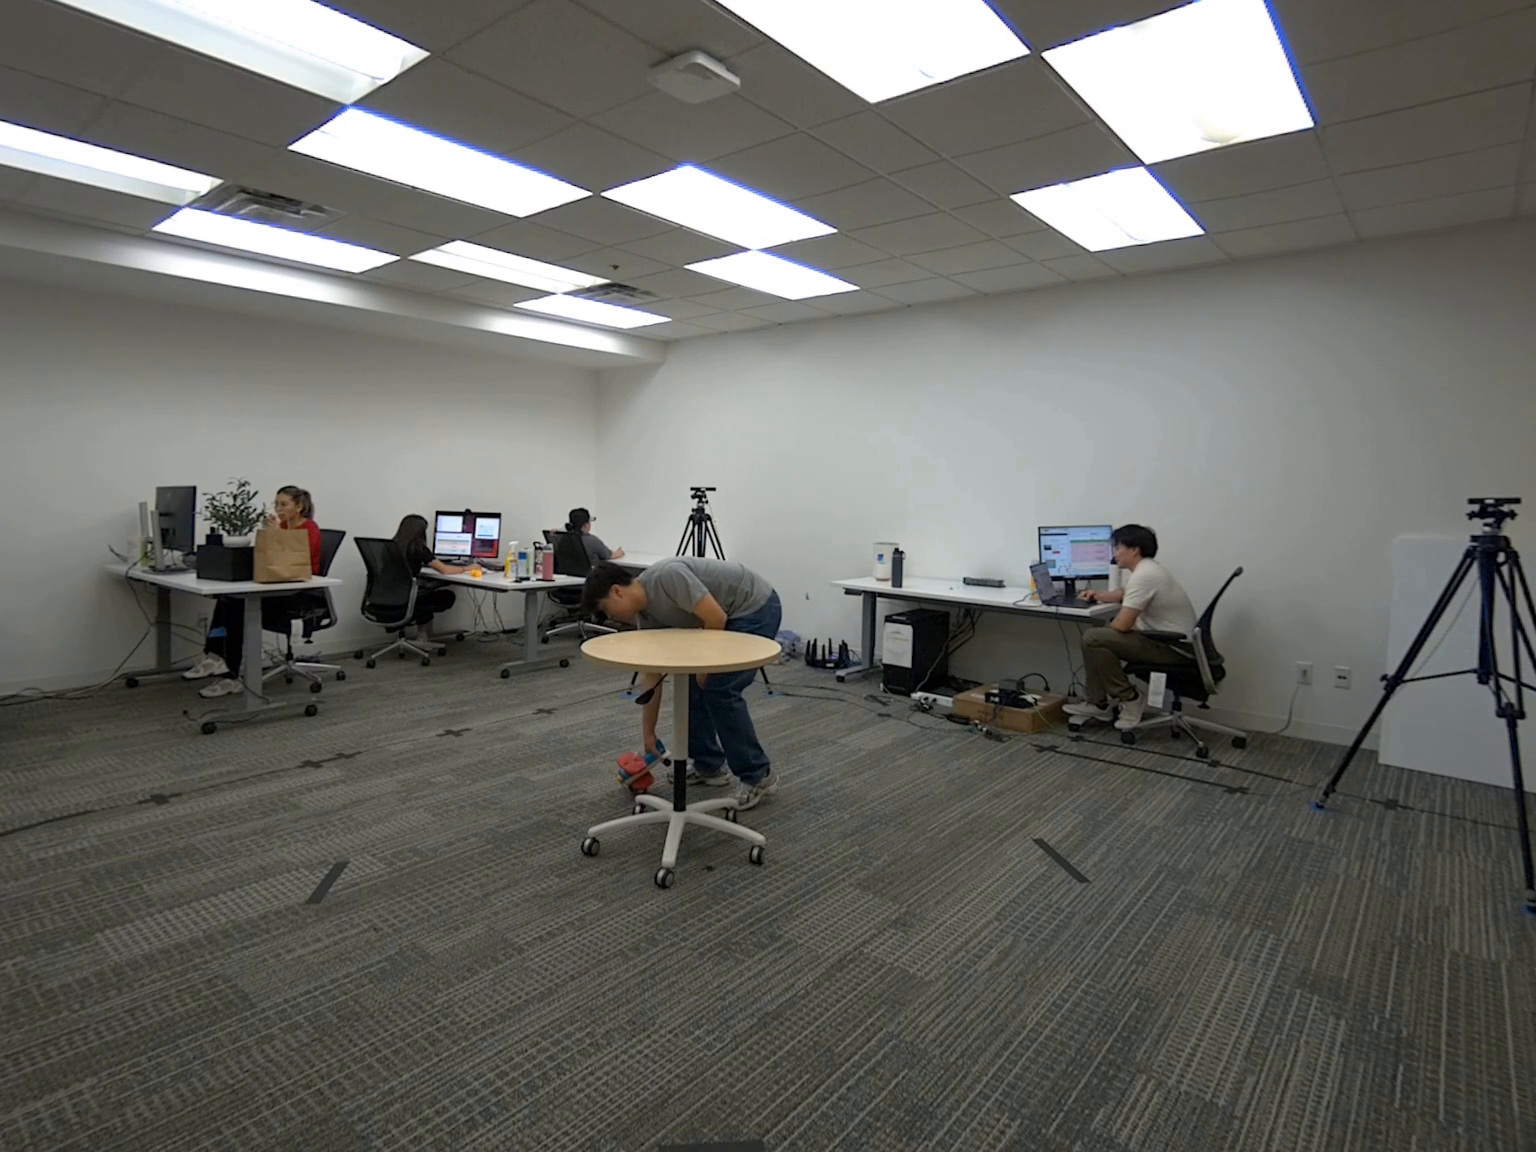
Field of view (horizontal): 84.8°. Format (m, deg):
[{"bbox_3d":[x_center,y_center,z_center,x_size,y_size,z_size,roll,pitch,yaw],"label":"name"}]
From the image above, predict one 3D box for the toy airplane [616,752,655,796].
[{"bbox_3d":[-0.586,0.875,3.890,0.256,0.152,0.261,-19,28,38],"label":"toy airplane"}]
